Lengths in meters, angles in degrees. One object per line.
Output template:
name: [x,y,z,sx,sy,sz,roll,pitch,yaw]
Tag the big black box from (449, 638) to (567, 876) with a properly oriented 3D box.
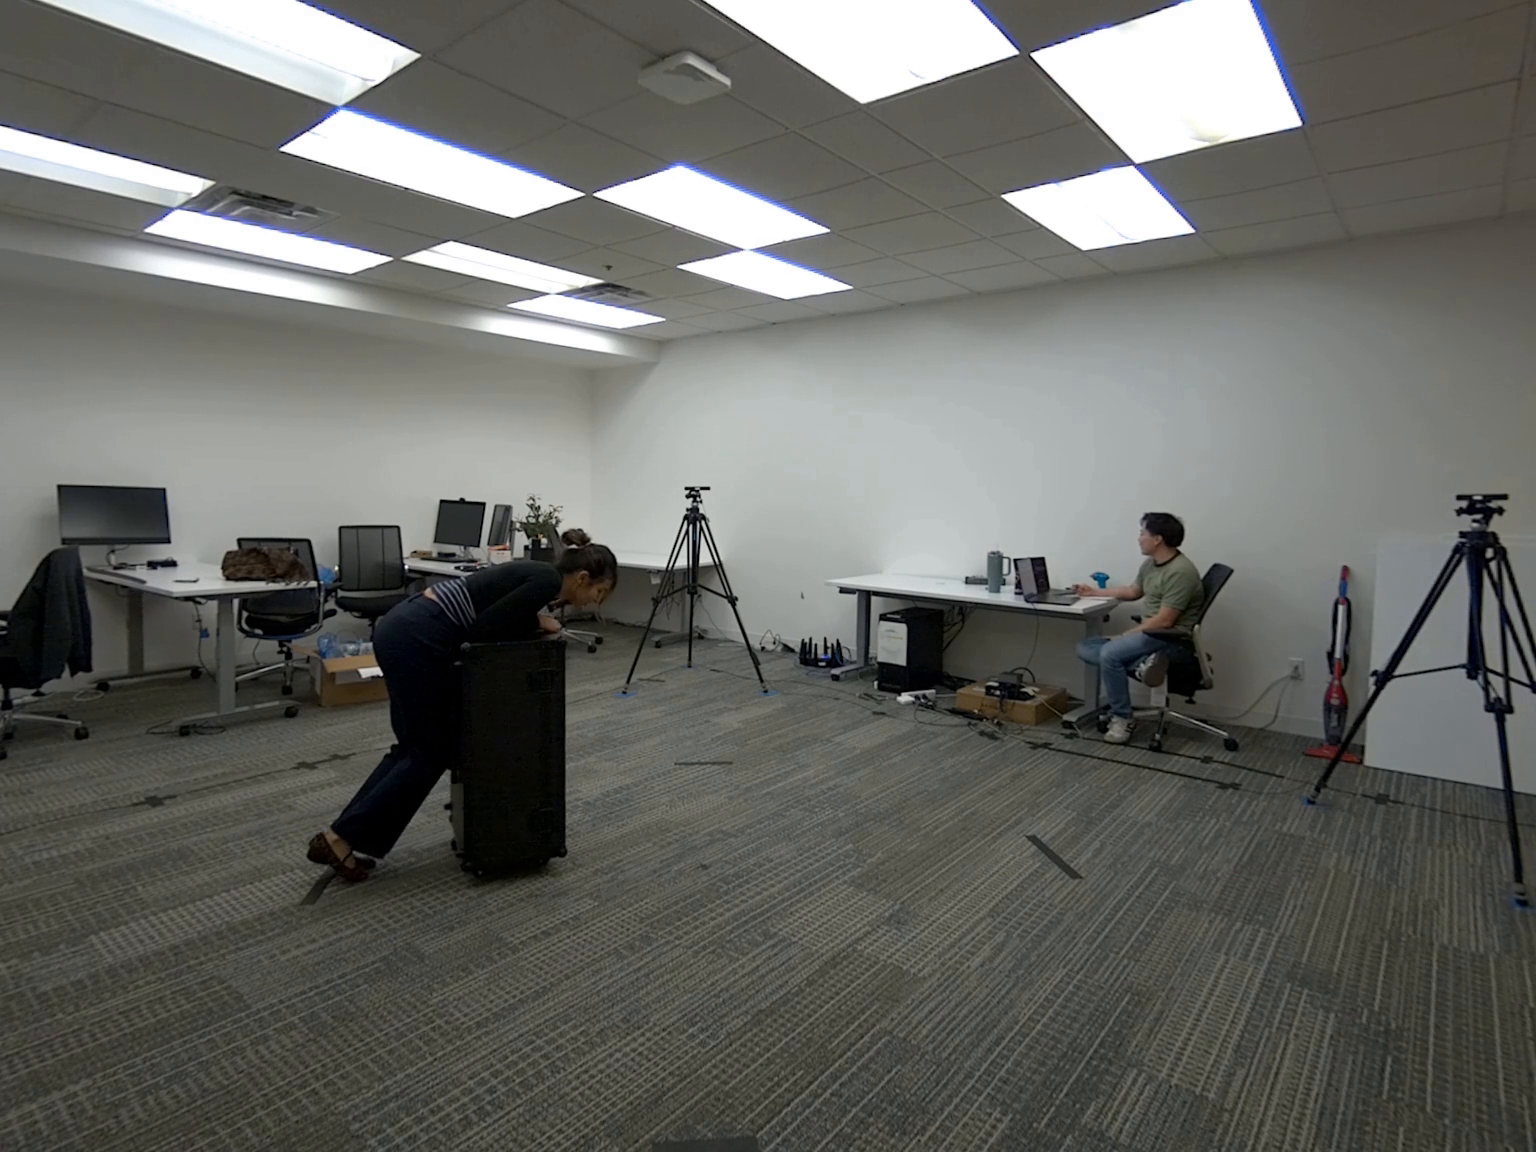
big black box: [-0.989,0.630,3.151,0.387,0.858,0.535,-1,4,-24]
